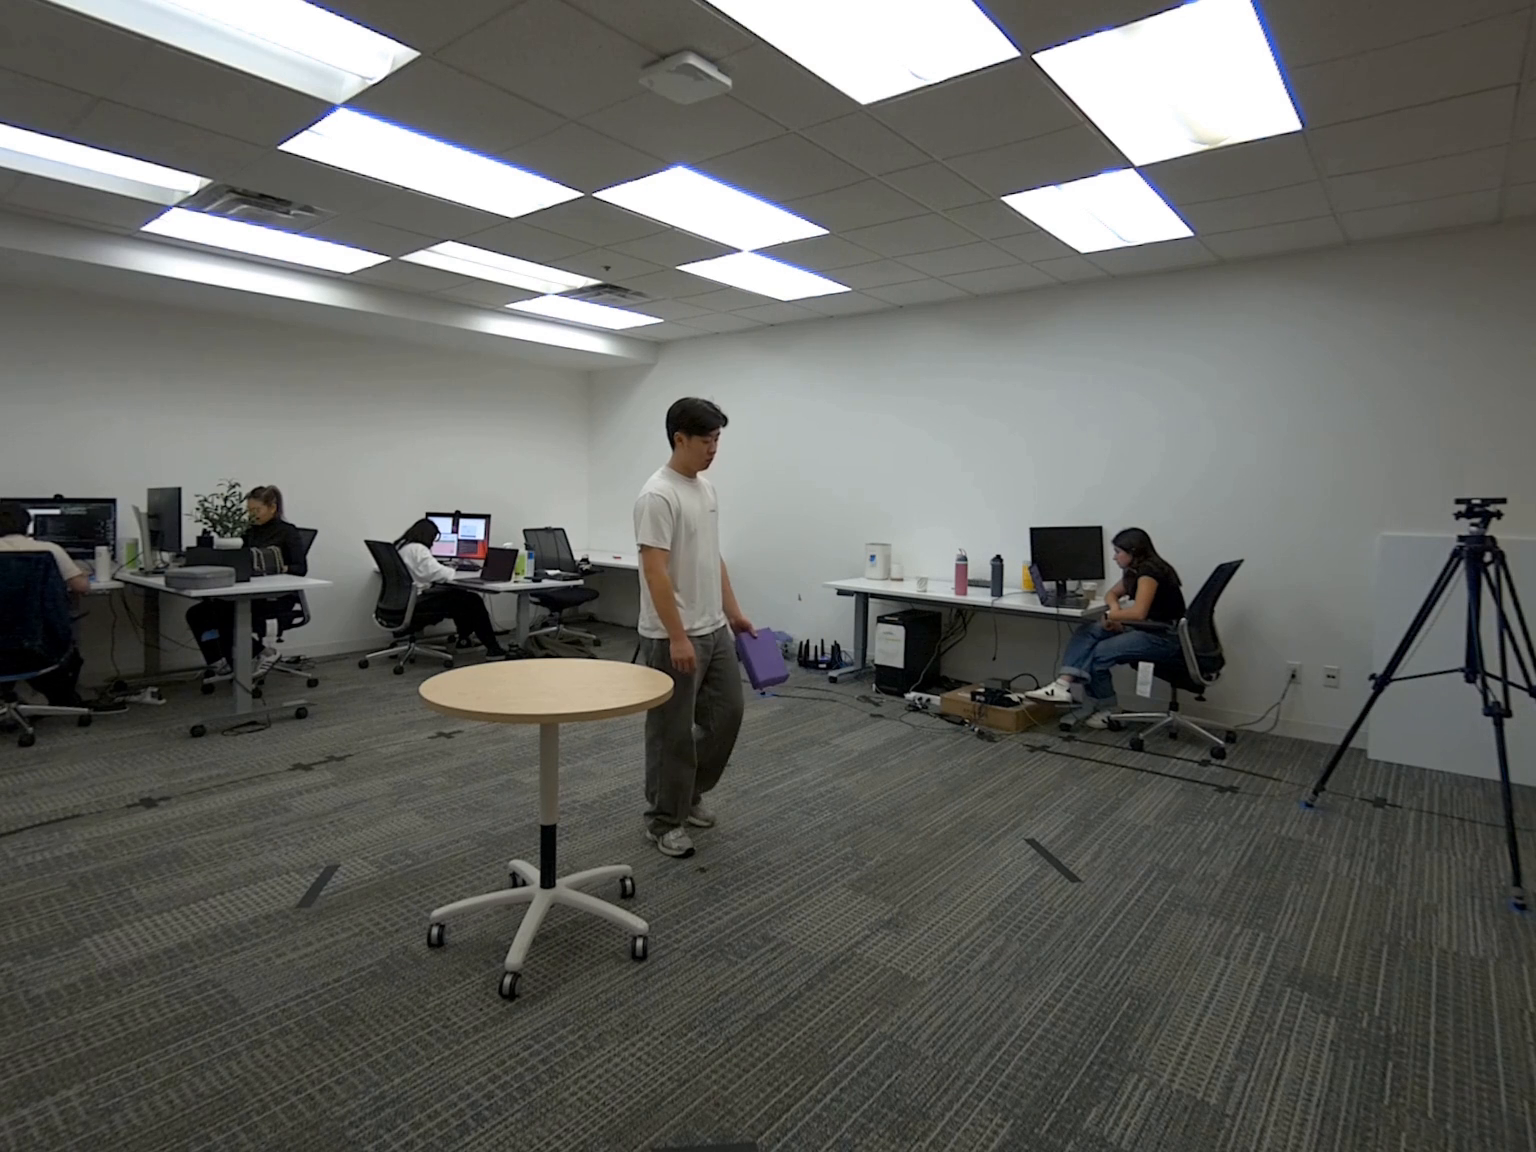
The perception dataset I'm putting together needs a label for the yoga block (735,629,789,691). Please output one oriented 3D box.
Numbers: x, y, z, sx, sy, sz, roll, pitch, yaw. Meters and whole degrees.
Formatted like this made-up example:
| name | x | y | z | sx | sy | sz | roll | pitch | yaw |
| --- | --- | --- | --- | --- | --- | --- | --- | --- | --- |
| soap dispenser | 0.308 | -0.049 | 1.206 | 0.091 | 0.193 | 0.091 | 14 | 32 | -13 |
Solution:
| name | x | y | z | sx | sy | sz | roll | pitch | yaw |
| --- | --- | --- | --- | --- | --- | --- | --- | --- | --- |
| yoga block | -0.031 | 0.333 | 3.444 | 0.146 | 0.236 | 0.075 | -11 | -25 | -21 |
